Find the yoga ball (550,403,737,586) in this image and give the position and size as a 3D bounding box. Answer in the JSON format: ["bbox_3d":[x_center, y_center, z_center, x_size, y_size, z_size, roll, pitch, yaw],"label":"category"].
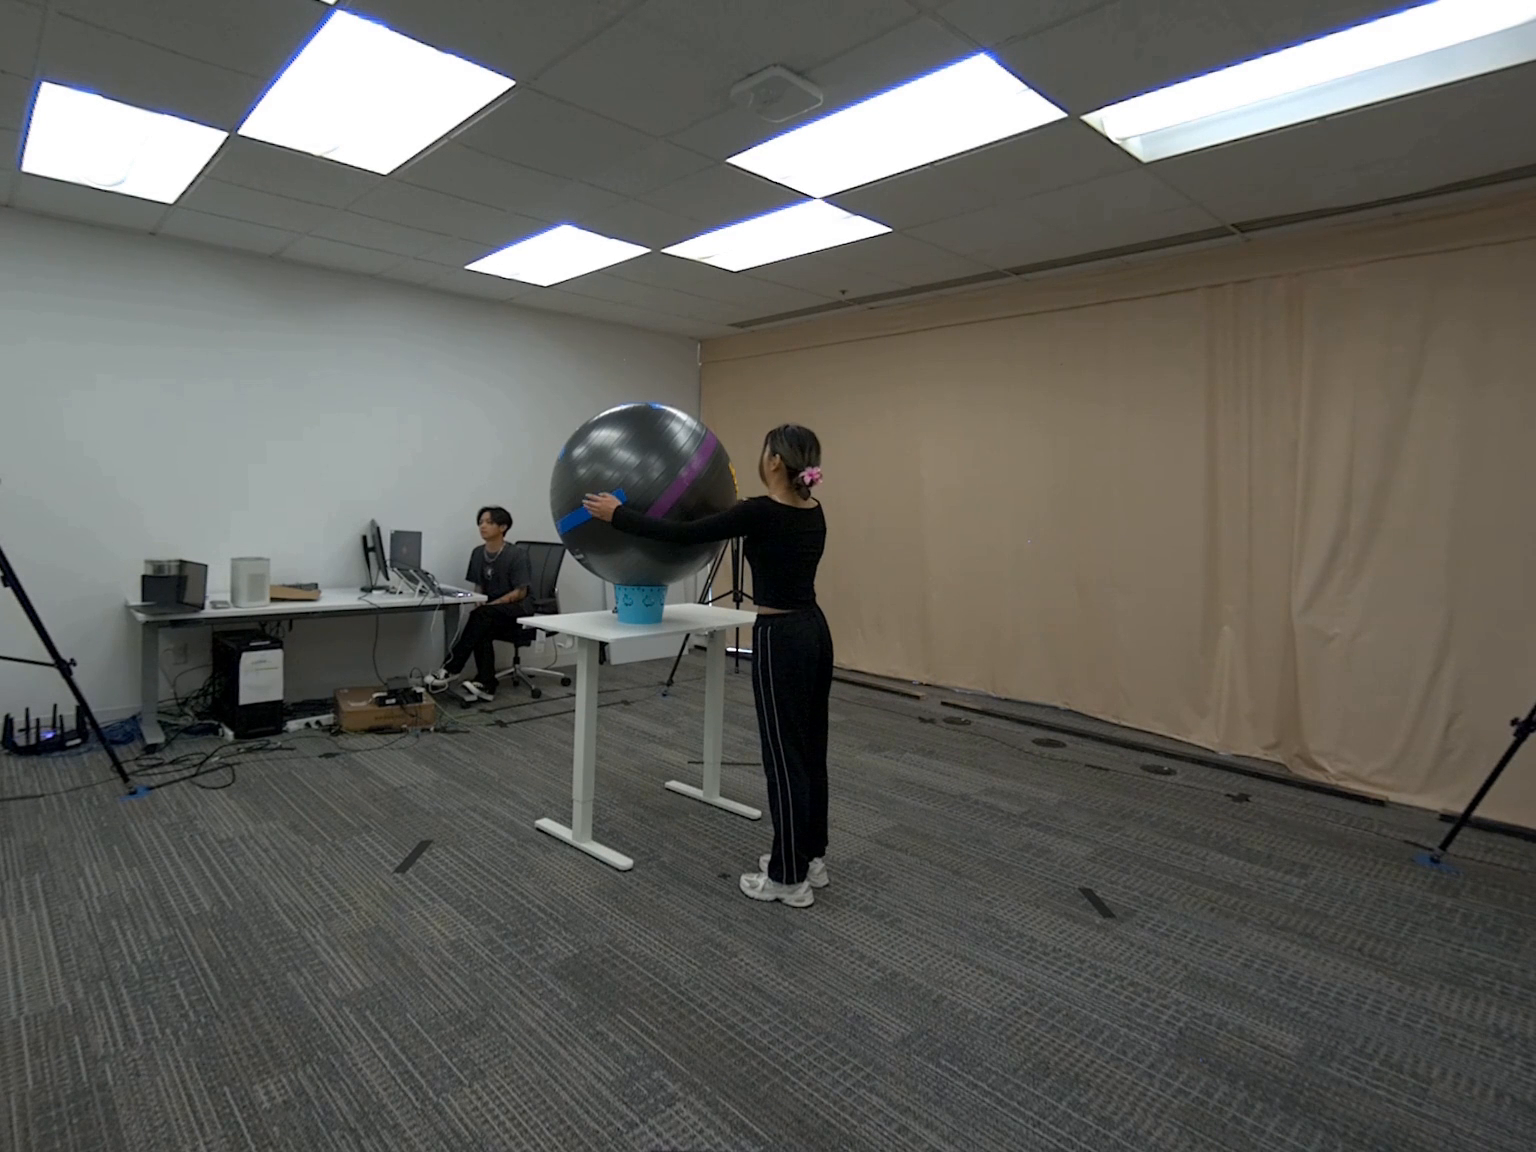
[{"bbox_3d":[-0.517,-0.322,3.443,0.757,0.756,0.760,1,4,-1],"label":"yoga ball"}]
